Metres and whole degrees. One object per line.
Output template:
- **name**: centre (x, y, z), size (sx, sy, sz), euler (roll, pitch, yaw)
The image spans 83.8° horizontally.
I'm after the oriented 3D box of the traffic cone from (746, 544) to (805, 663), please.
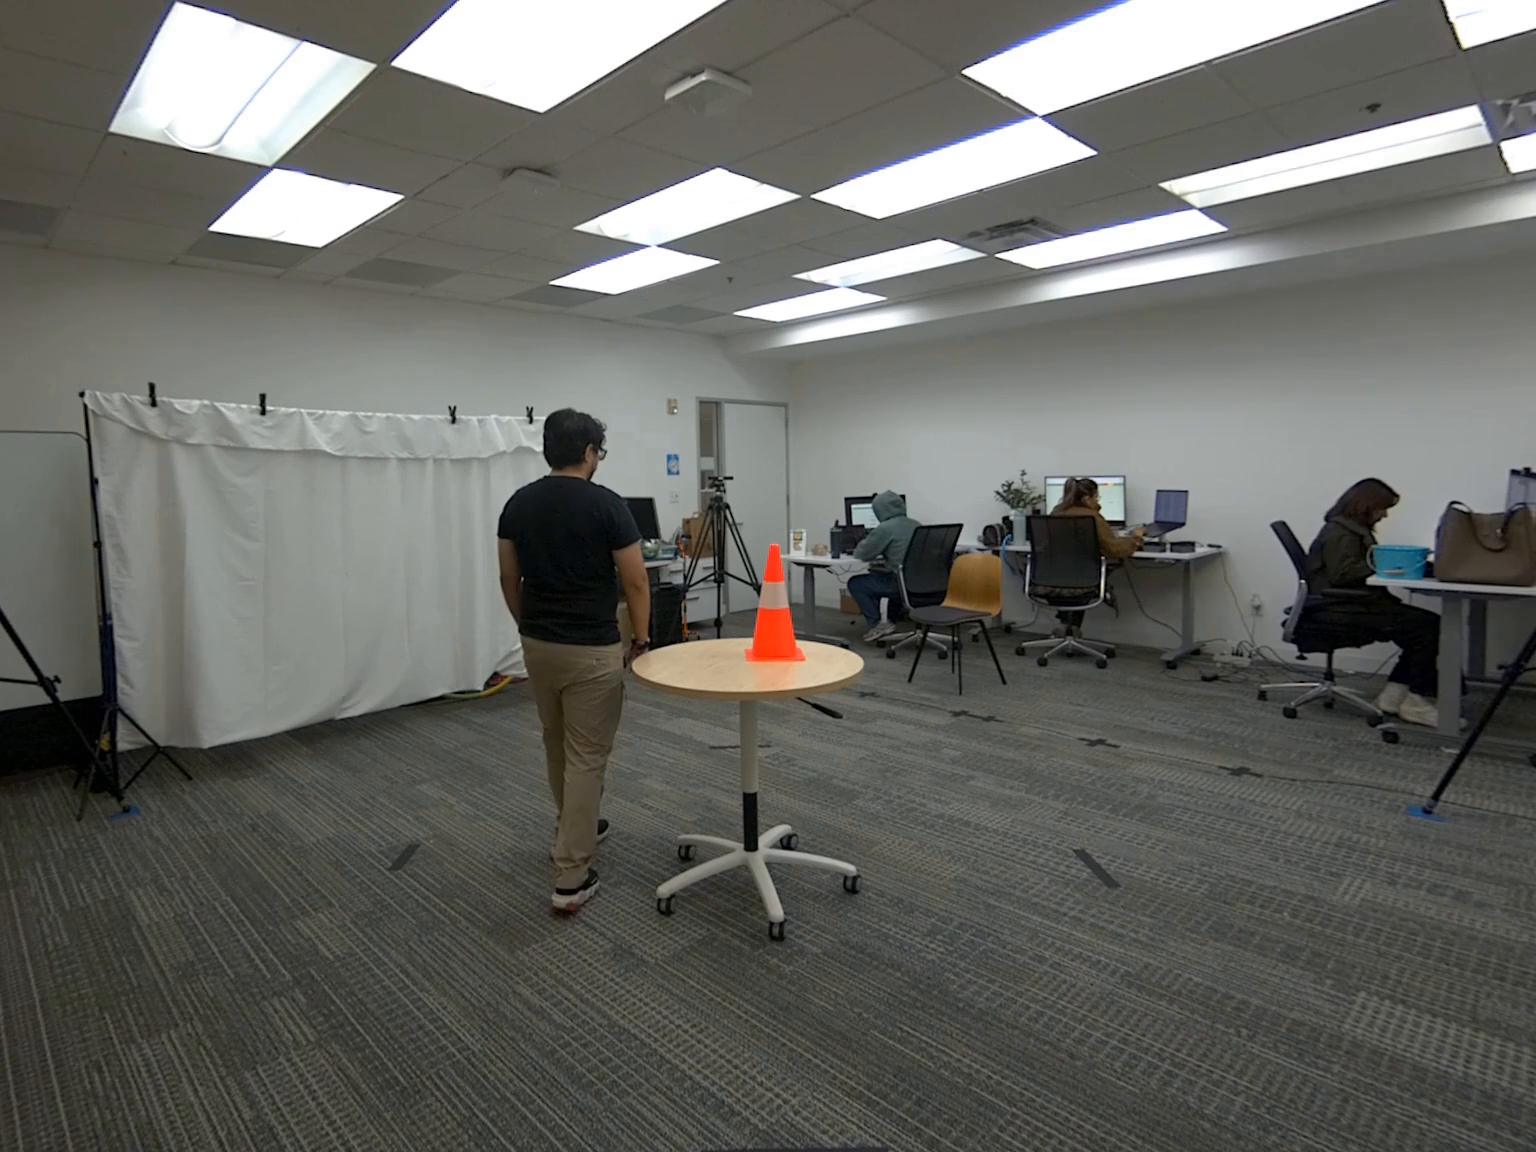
- **traffic cone**: centre (0.014, 0.086, 2.915), size (0.203, 0.382, 0.206), euler (-2, 5, -2)
